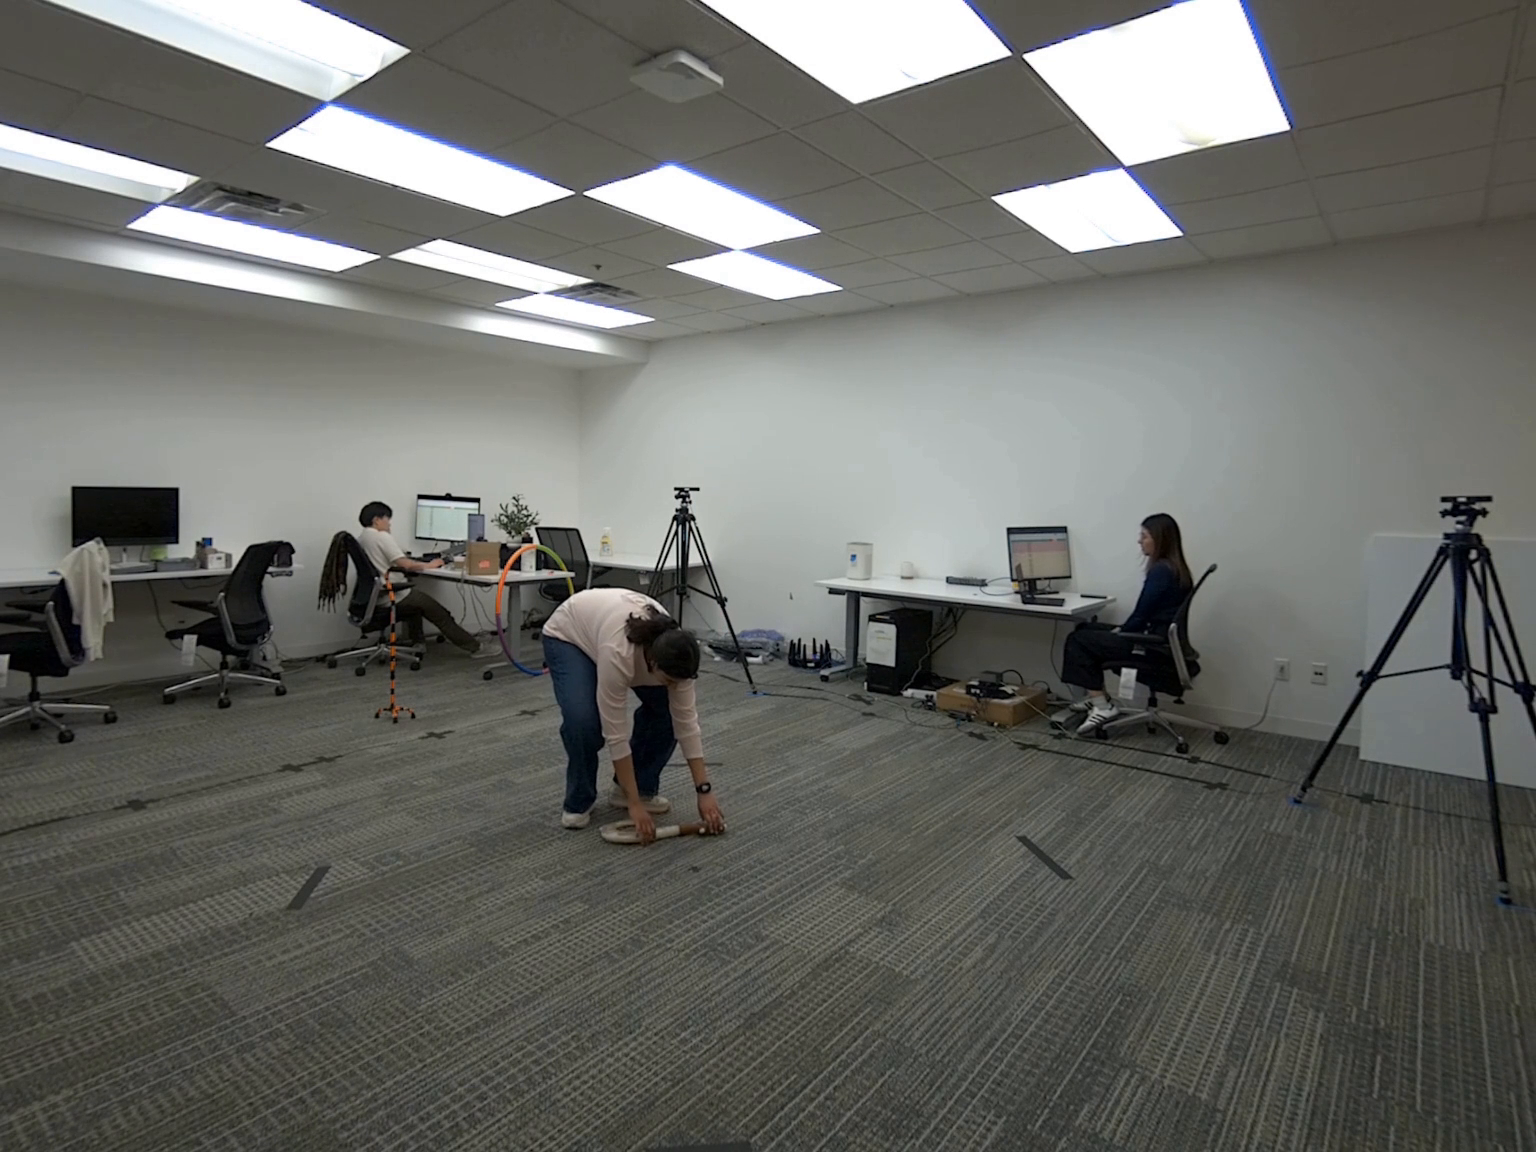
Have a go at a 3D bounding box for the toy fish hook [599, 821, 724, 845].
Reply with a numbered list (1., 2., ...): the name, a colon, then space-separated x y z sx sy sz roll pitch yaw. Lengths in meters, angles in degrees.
1. toy fish hook: -0.432 1.002 3.438 0.498 0.048 0.230 -3 9 -17
